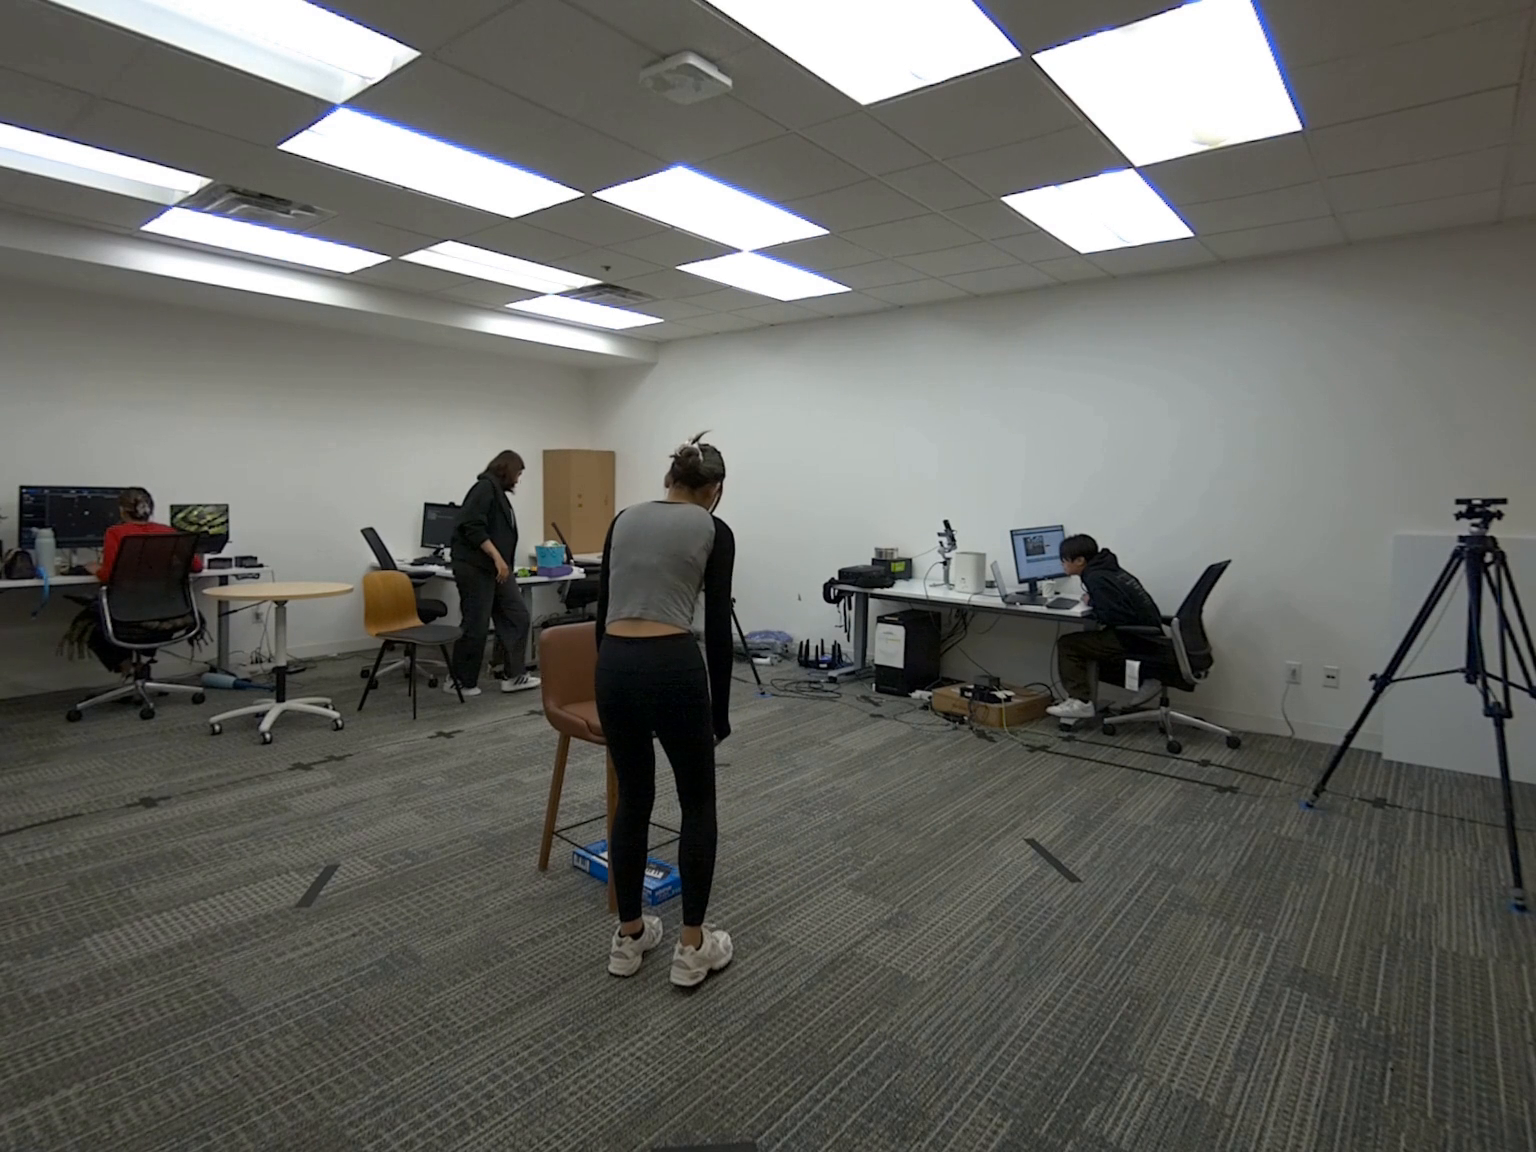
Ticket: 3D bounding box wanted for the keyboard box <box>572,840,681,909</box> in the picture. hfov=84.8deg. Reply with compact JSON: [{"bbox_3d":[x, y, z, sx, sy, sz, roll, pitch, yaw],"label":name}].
[{"bbox_3d":[-0.507,1.046,3.025,0.452,0.059,0.171,5,7,41],"label":"keyboard box"}]
